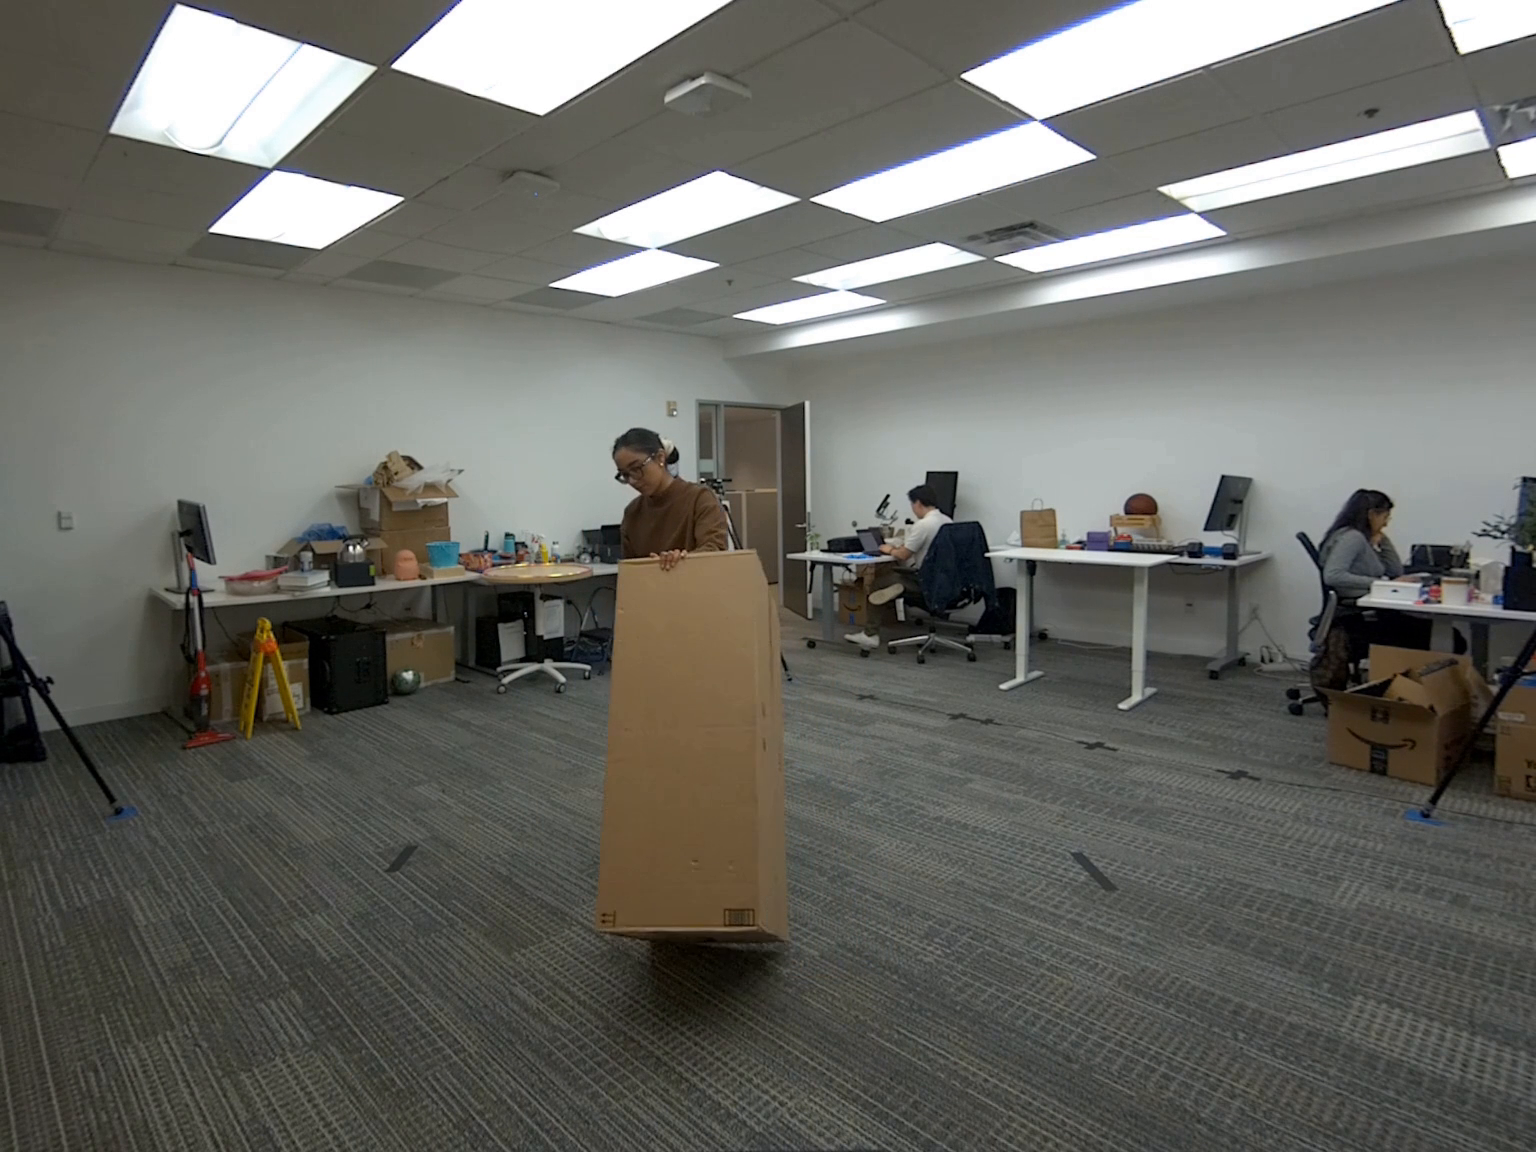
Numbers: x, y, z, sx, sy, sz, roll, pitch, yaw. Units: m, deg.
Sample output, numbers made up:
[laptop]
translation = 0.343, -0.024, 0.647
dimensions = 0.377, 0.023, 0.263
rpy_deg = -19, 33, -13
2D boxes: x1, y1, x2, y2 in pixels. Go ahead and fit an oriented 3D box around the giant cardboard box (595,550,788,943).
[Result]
[giant cardboard box]
translation = -0.195, 0.528, 2.552
dimensions = 0.450, 1.049, 0.567
rpy_deg = -4, -27, 7
